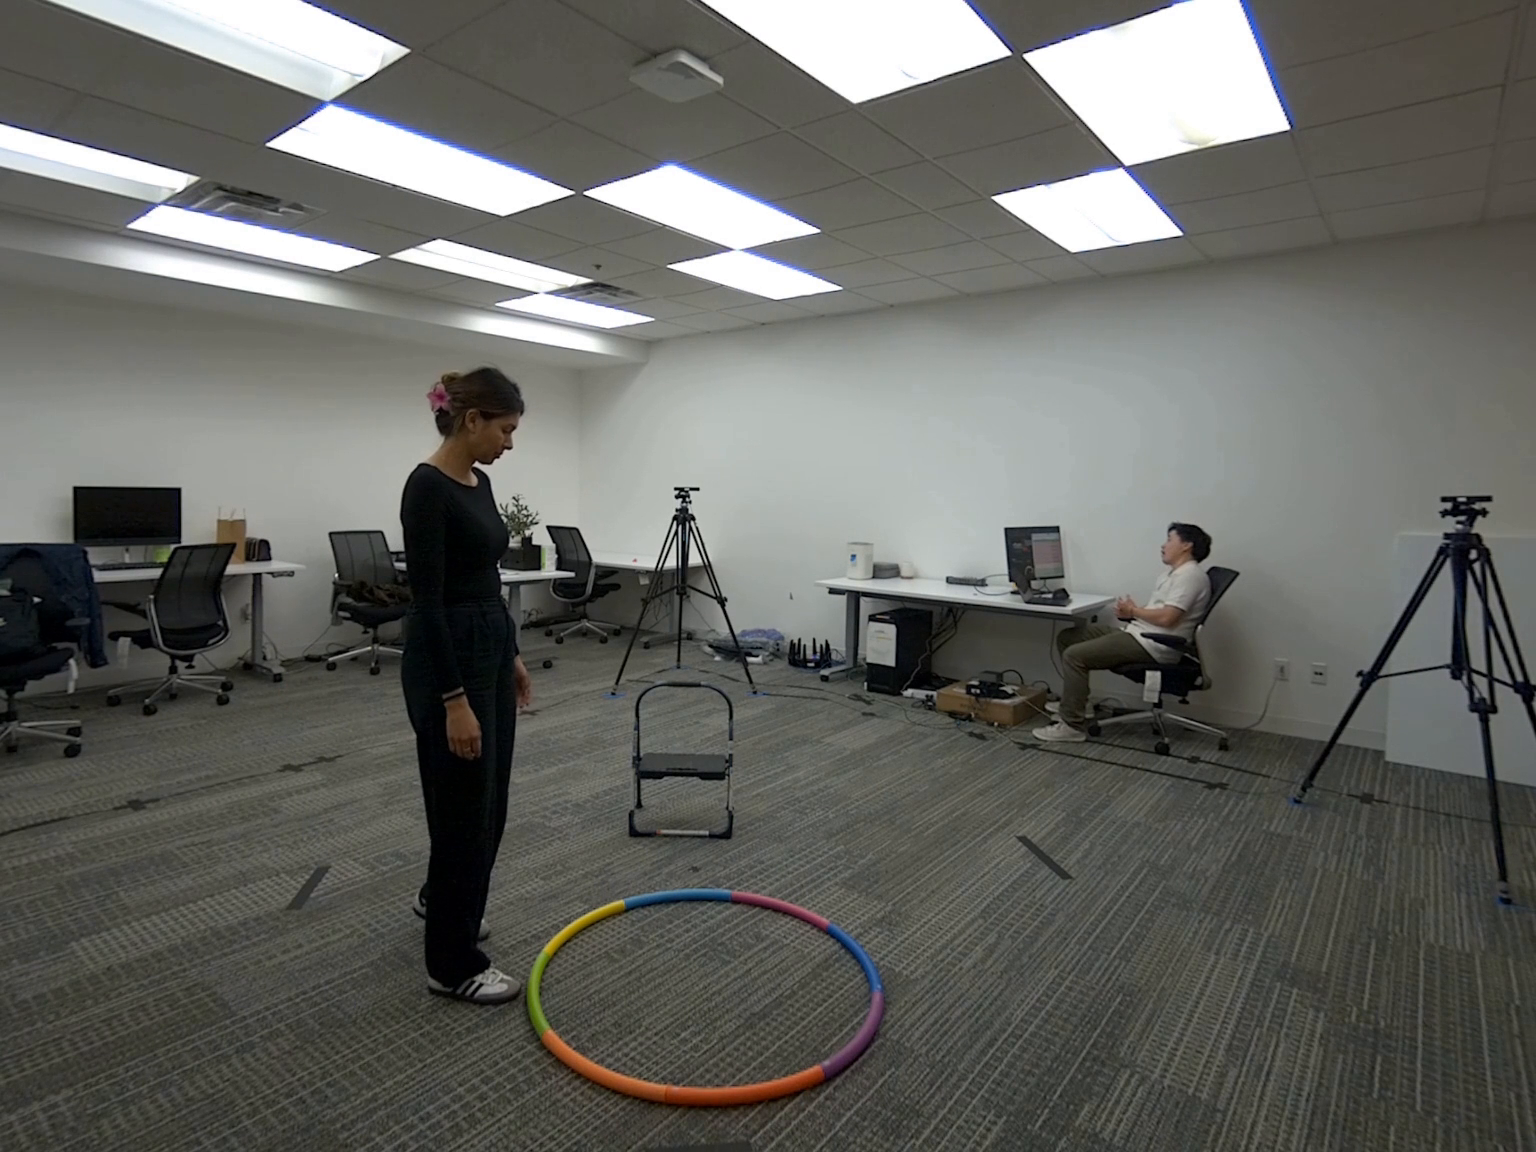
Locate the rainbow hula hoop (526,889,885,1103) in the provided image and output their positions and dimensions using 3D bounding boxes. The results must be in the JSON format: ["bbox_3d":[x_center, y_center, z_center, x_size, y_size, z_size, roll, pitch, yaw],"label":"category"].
[{"bbox_3d":[-0.182,1.104,2.402,0.978,0.035,0.984,1,6,-2],"label":"rainbow hula hoop"}]
